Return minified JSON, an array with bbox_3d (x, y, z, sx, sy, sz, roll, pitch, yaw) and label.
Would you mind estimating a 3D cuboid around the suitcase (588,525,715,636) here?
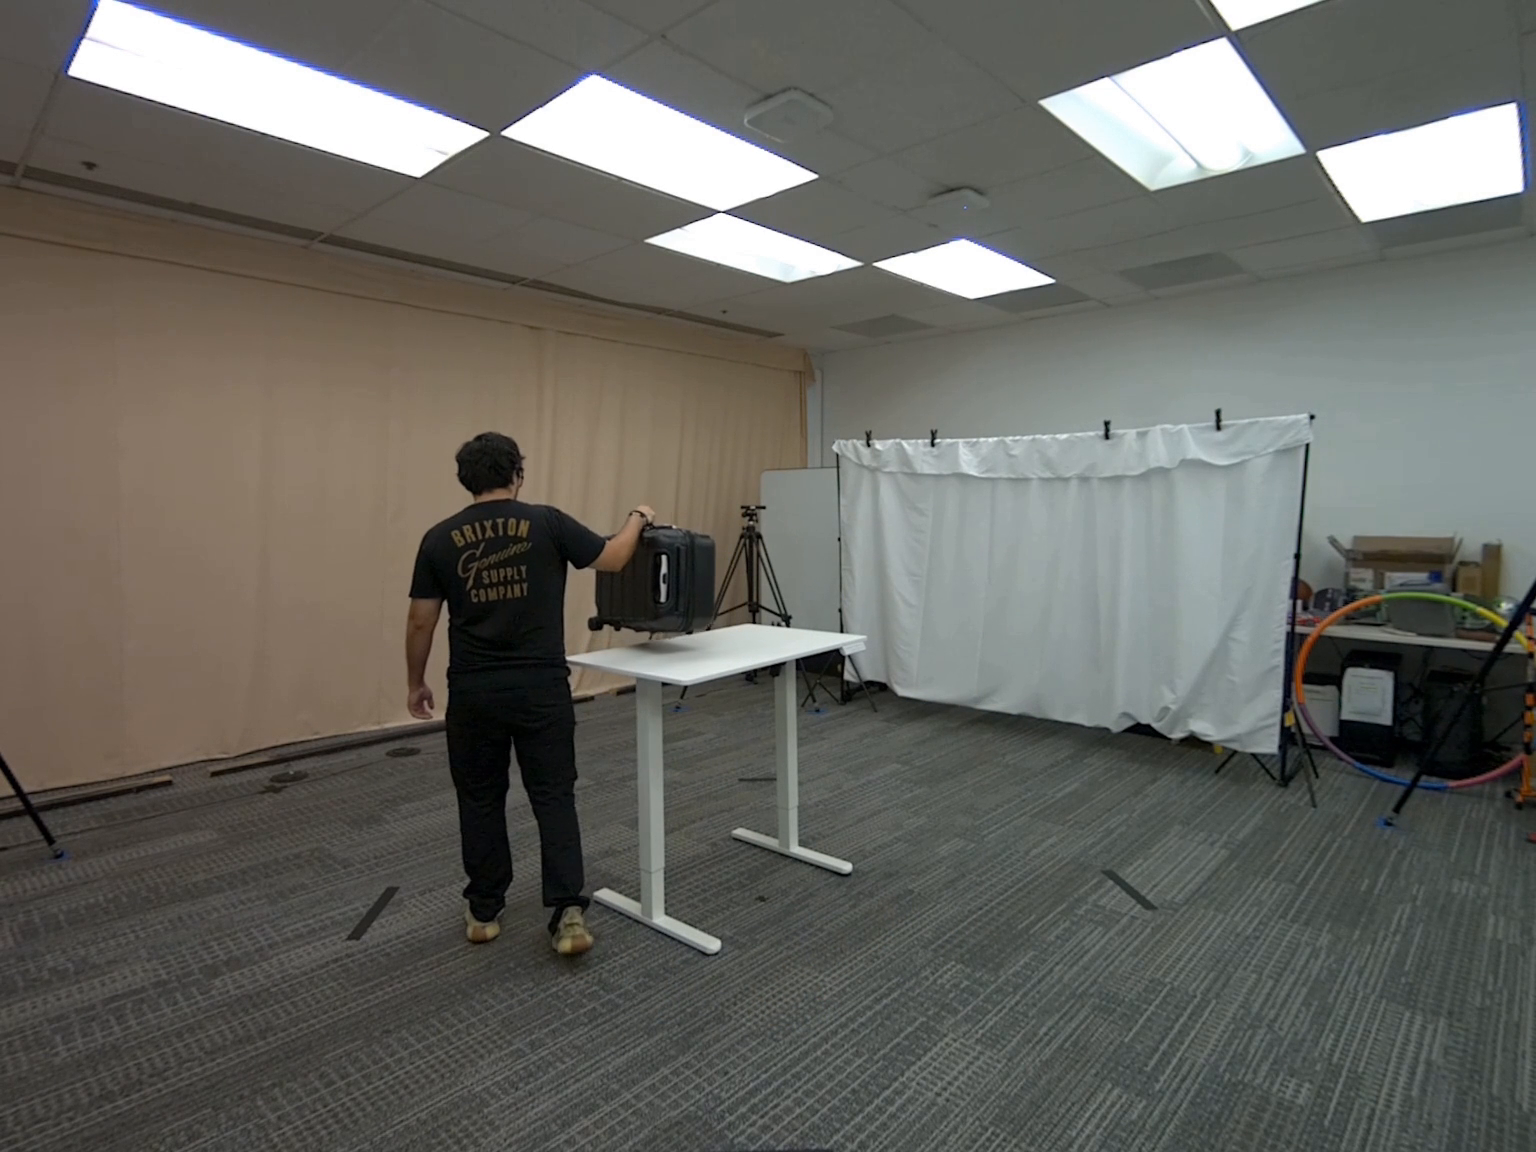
[{"bbox_3d":[-0.423,0.020,3.094,0.240,0.376,0.566,5,-5,-37],"label":"suitcase"}]
